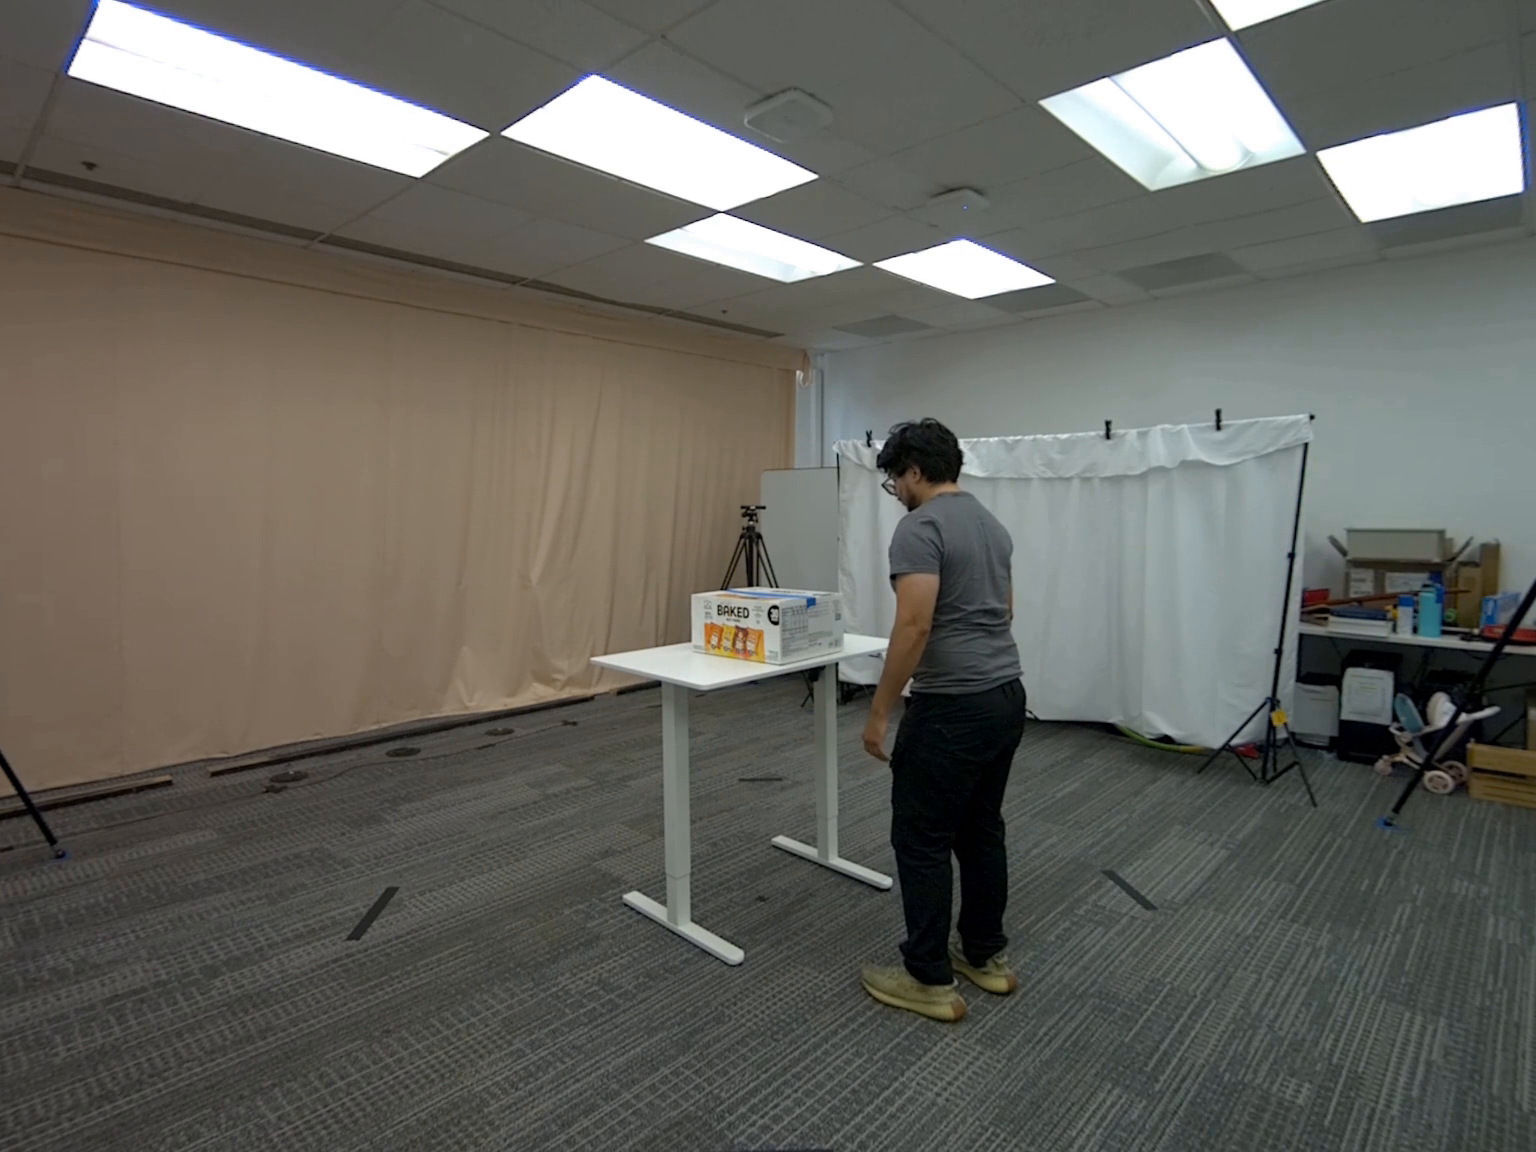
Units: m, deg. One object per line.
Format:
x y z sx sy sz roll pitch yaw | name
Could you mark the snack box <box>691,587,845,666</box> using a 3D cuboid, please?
0.003 0.164 2.922 0.418 0.205 0.330 3 6 43 | snack box
